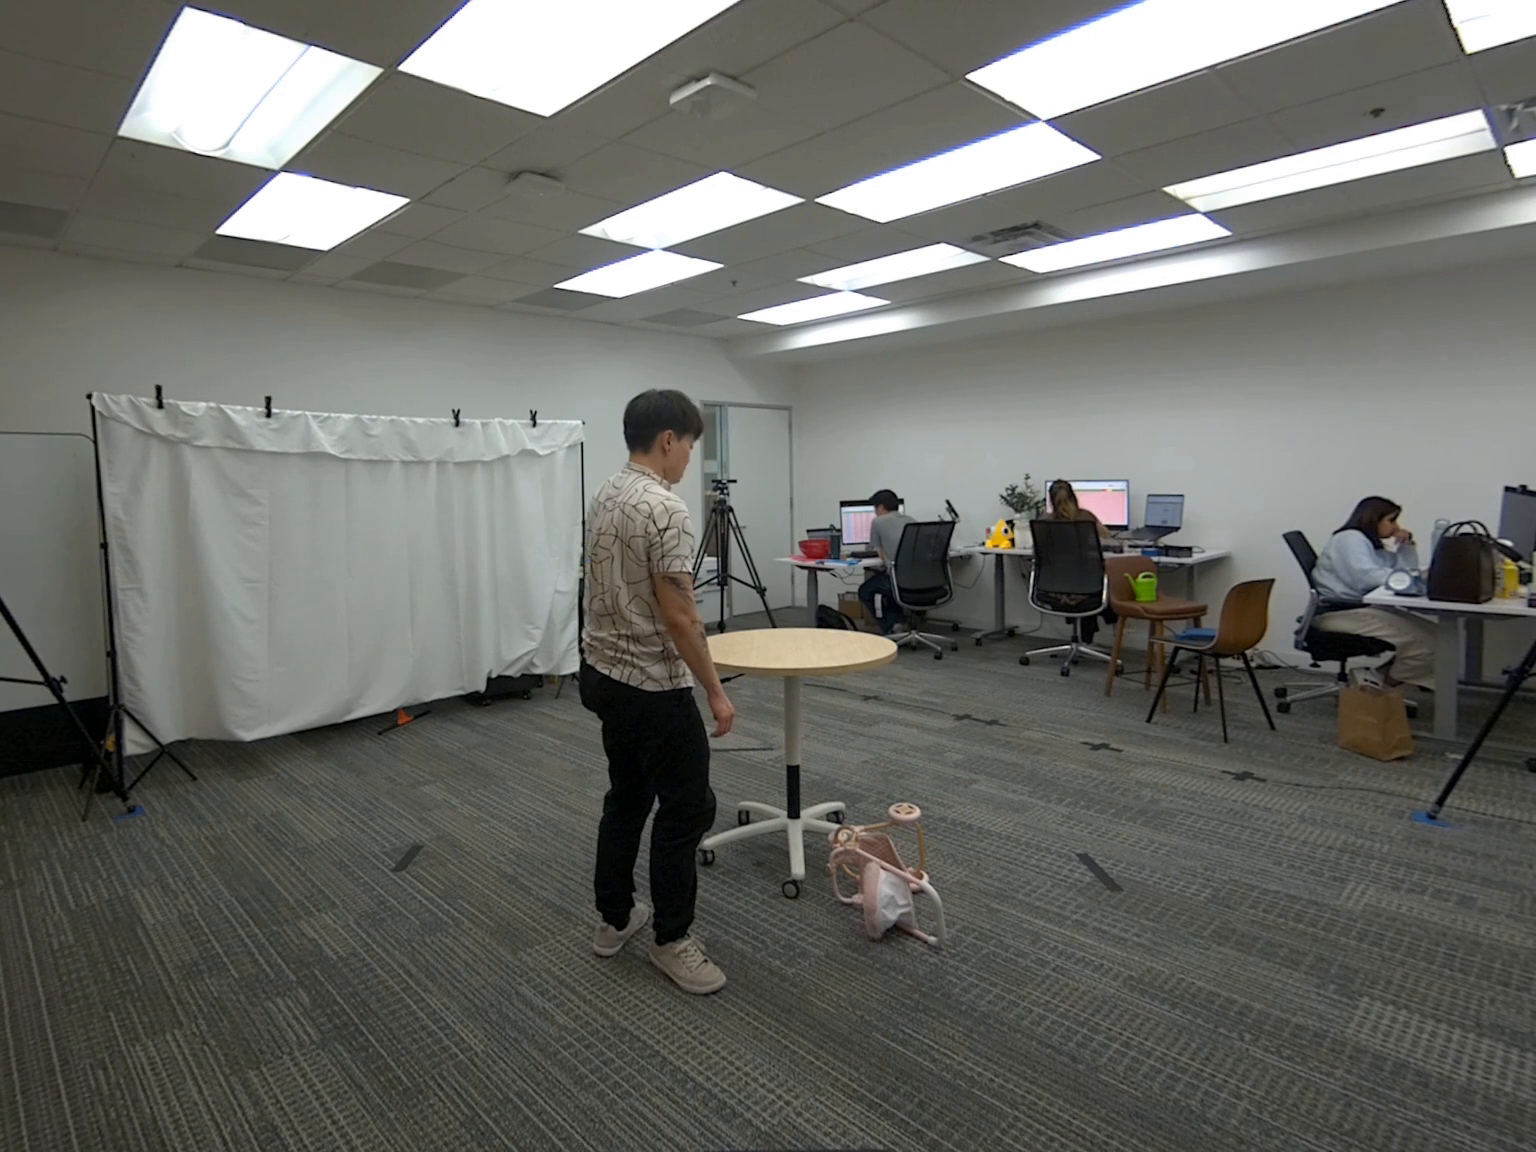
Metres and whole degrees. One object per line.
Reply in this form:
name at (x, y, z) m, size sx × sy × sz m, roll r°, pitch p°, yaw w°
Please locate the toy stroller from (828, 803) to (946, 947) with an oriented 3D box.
toy stroller at (0.365, 0.961, 2.752) m, size 0.343 × 0.278 × 0.538 m, roll -3°, pitch 13°, yaw 5°
